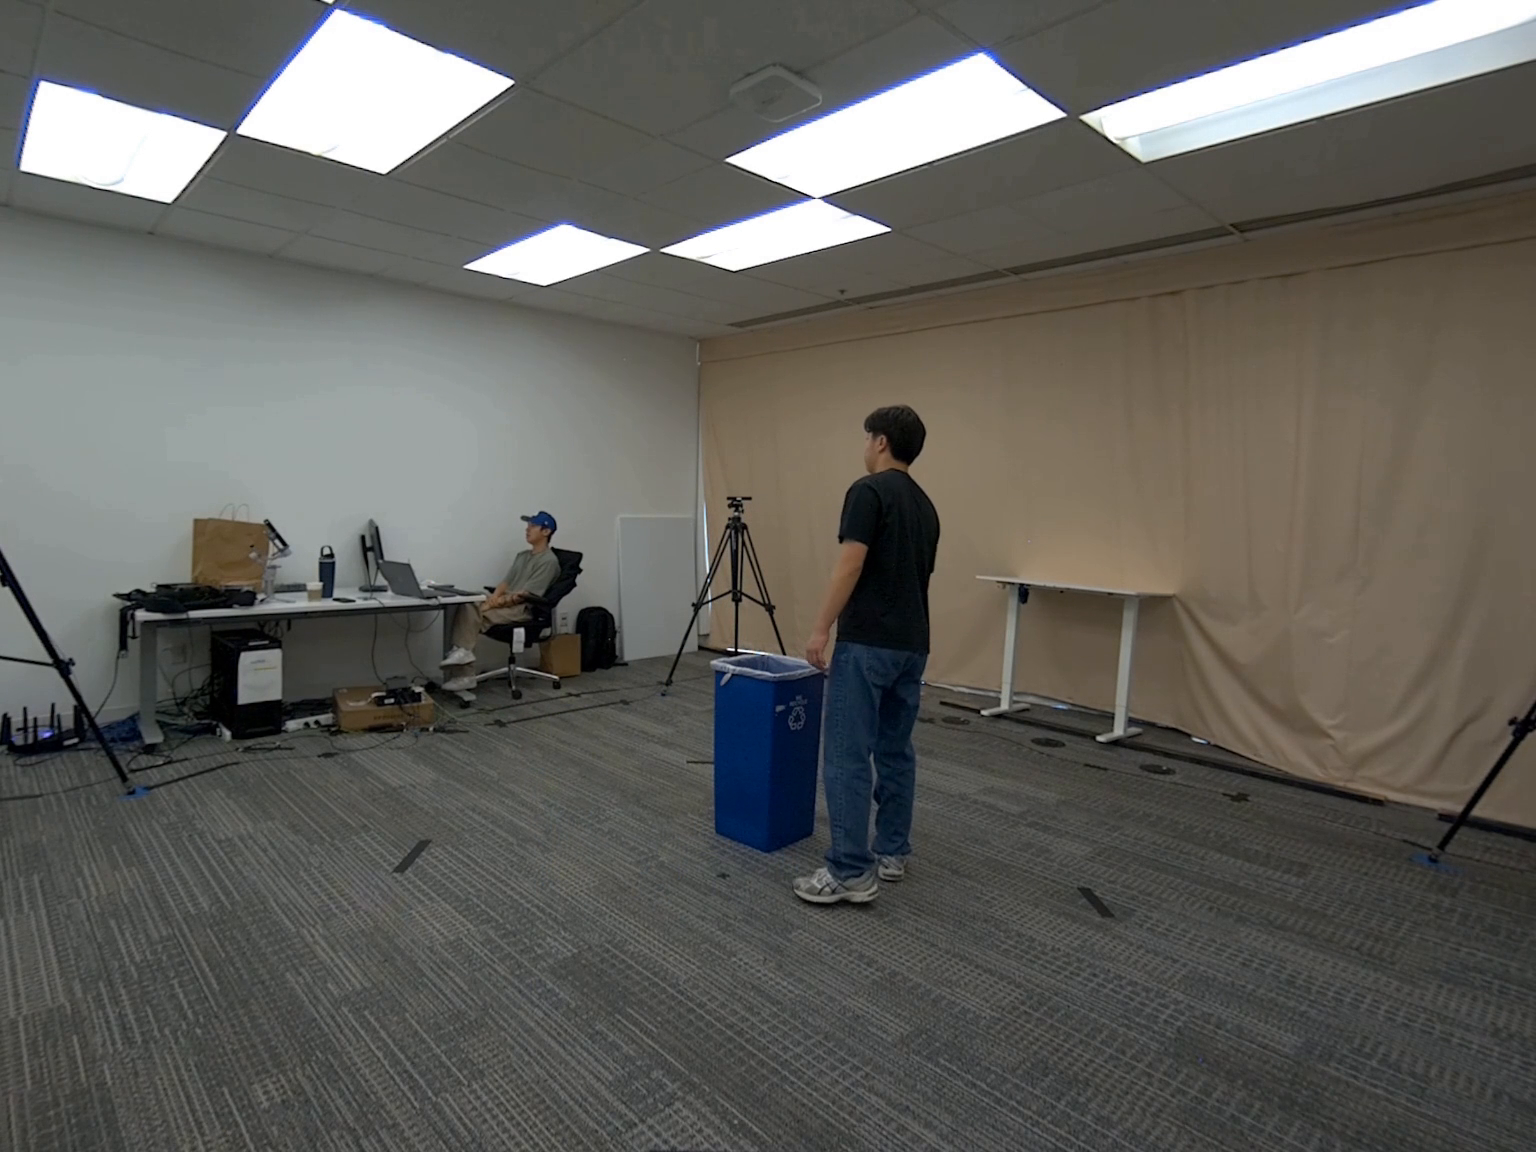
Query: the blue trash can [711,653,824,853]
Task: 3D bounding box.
[{"bbox_3d":[-0.010,0.716,3.511,0.388,0.712,0.365,5,4,42],"label":"blue trash can"}]
